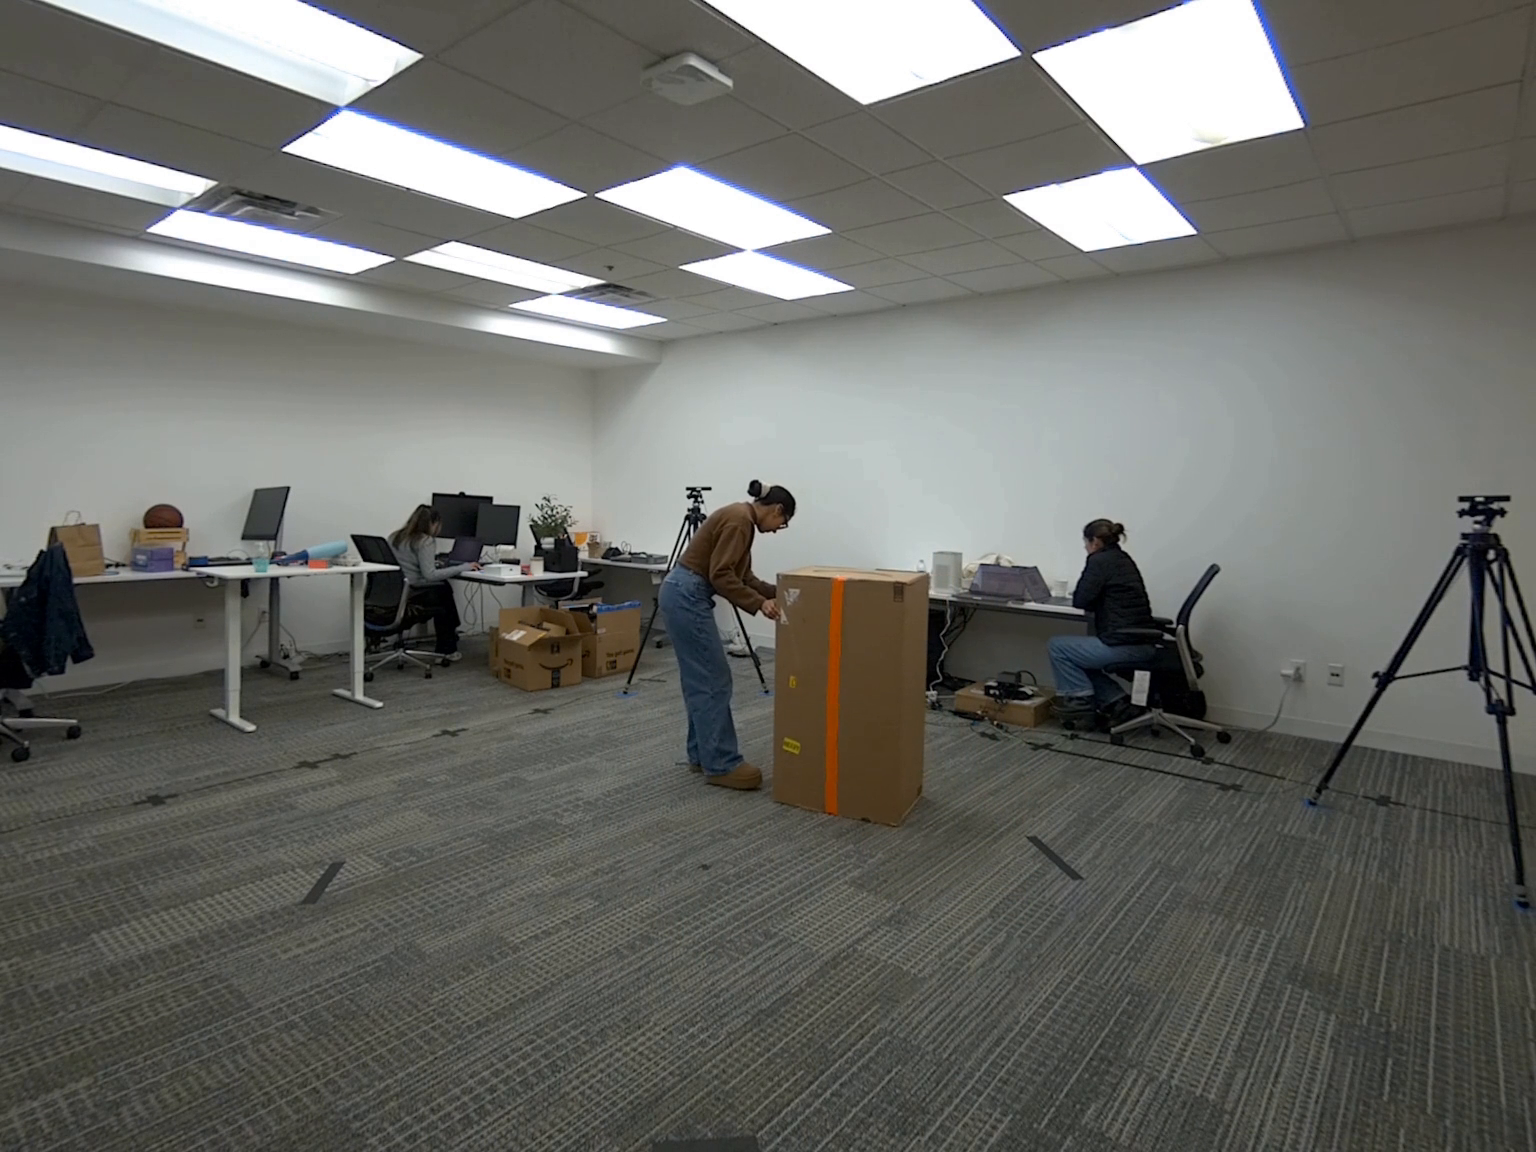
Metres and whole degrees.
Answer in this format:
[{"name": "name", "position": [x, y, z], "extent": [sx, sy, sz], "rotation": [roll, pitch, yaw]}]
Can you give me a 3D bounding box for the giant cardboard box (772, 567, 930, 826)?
[{"name": "giant cardboard box", "position": [0.370, 0.495, 3.800], "extent": [0.593, 1.022, 0.416], "rotation": [3, 4, 26]}]
